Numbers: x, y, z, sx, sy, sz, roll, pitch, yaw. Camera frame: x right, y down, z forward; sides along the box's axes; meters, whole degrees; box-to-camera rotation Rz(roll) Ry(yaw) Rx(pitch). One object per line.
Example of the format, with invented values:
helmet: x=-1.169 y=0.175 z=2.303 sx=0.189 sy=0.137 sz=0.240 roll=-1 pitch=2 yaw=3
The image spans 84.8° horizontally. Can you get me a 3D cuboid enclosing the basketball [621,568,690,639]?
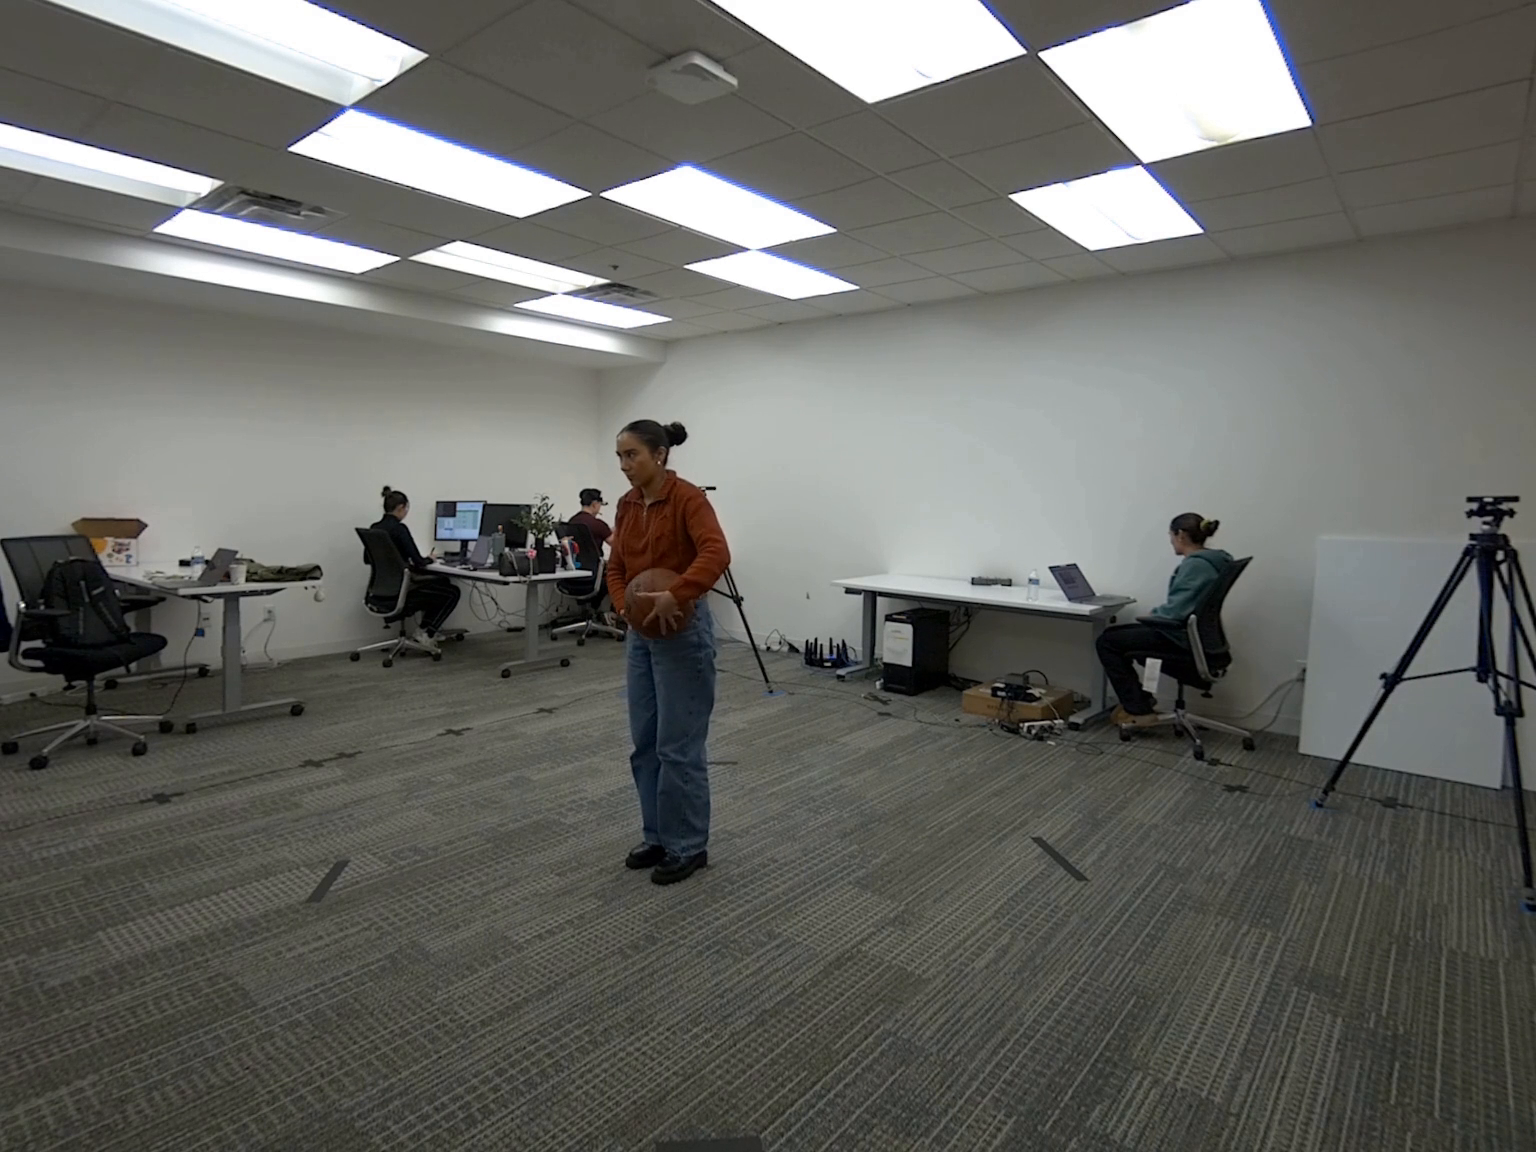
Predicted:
basketball: x=-0.379 y=0.085 z=2.866 sx=0.235 sy=0.235 sz=0.237 roll=1 pitch=4 yaw=-2
